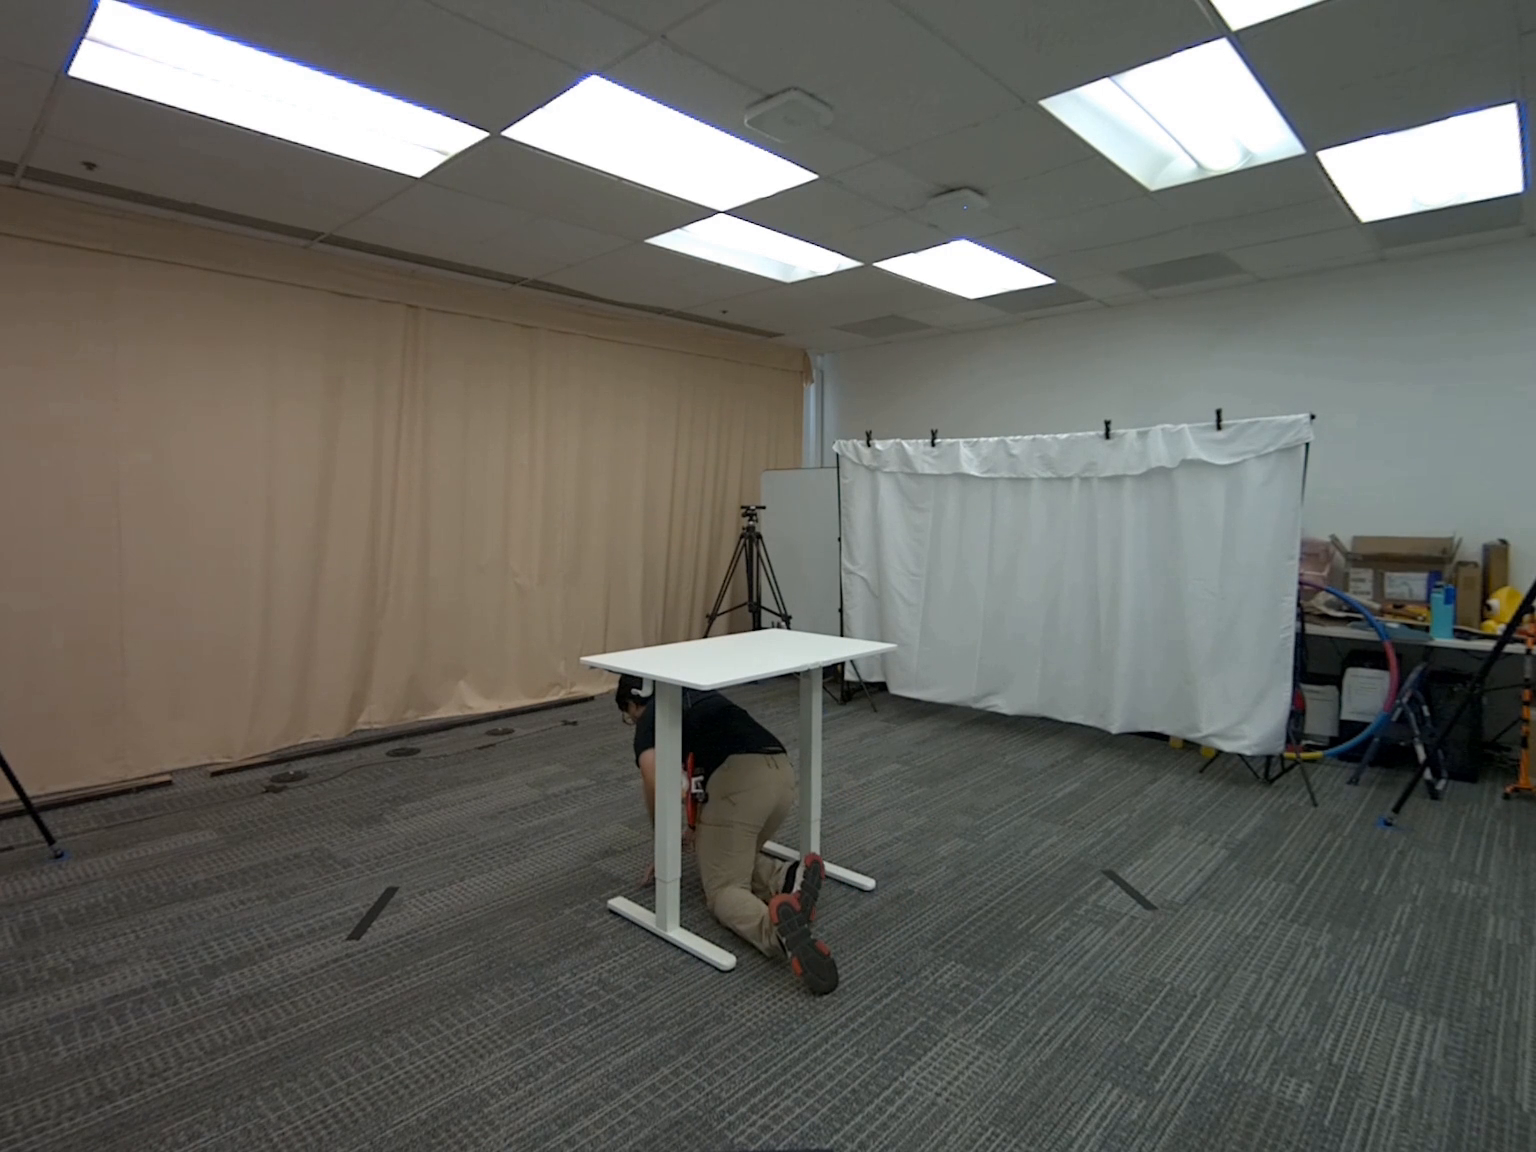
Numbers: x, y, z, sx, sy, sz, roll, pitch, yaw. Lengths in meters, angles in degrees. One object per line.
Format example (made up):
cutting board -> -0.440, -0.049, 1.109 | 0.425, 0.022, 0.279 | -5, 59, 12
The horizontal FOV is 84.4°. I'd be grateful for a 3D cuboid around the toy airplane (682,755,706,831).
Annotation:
toy airplane -> -0.287, 0.788, 3.018 | 0.157, 0.254, 0.255 | -1, 32, 1
